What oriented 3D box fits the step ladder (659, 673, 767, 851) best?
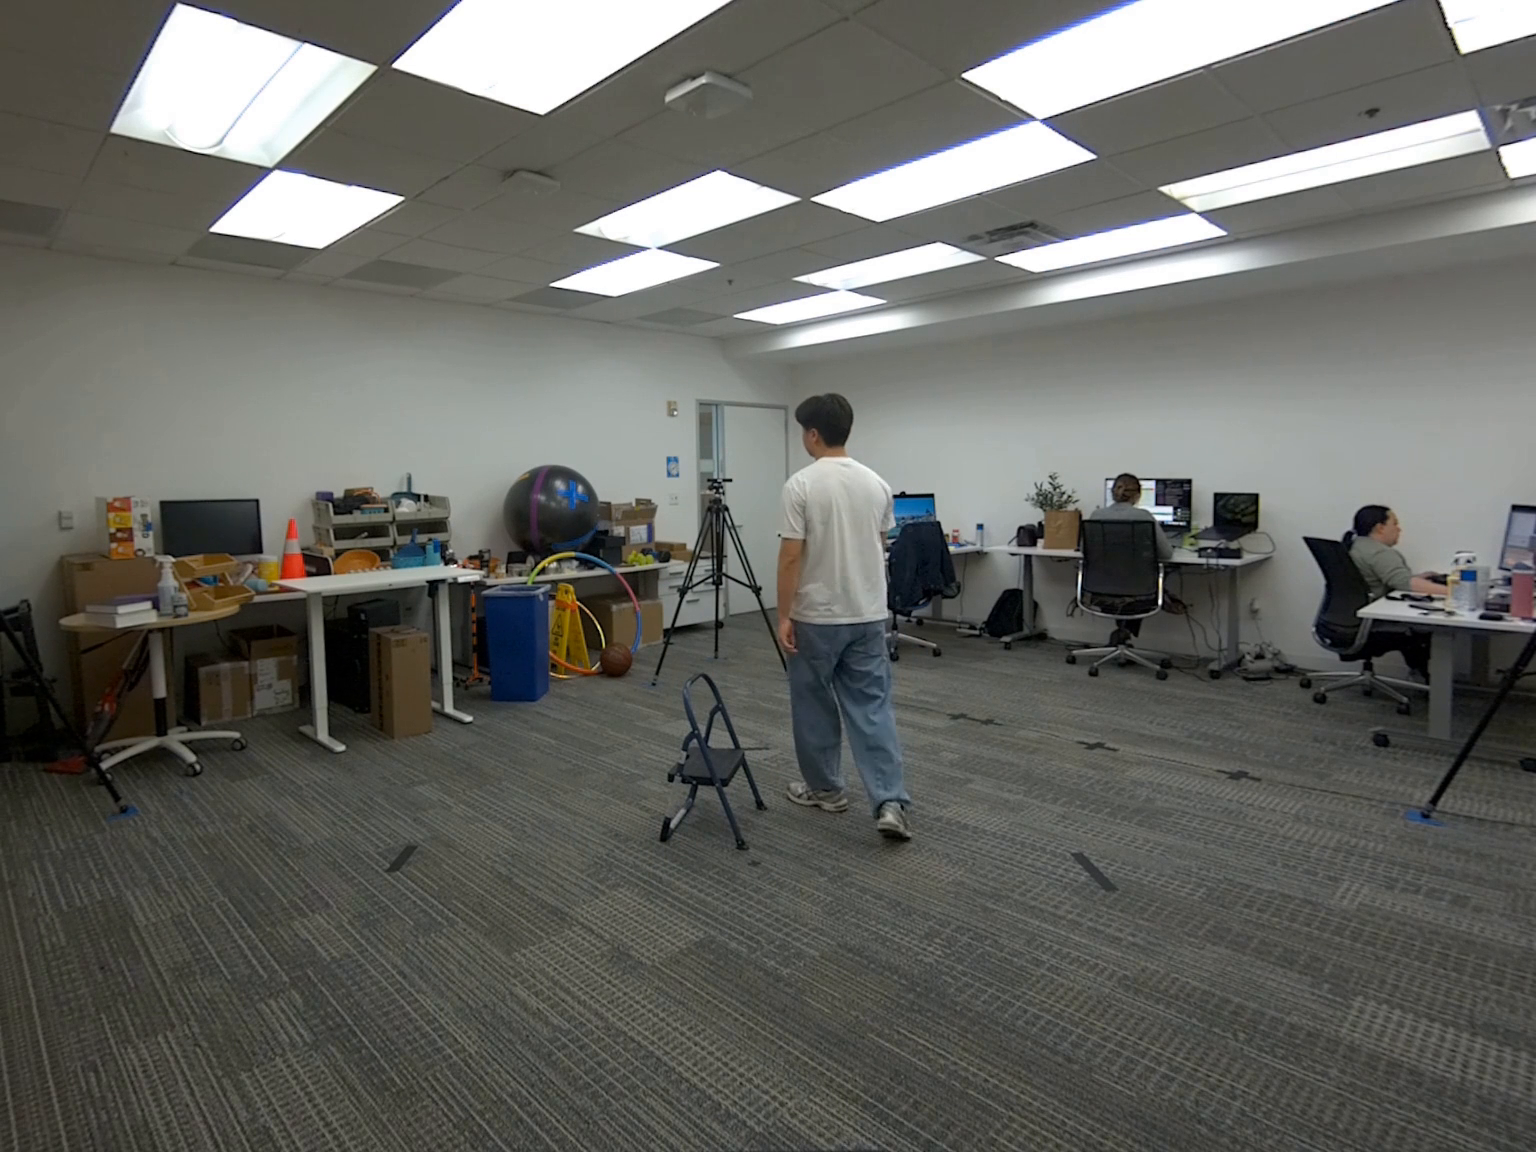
[{"bbox_3d":[-0.217,0.707,3.443,0.353,0.604,0.427,0,4,11],"label":"step ladder"}]
